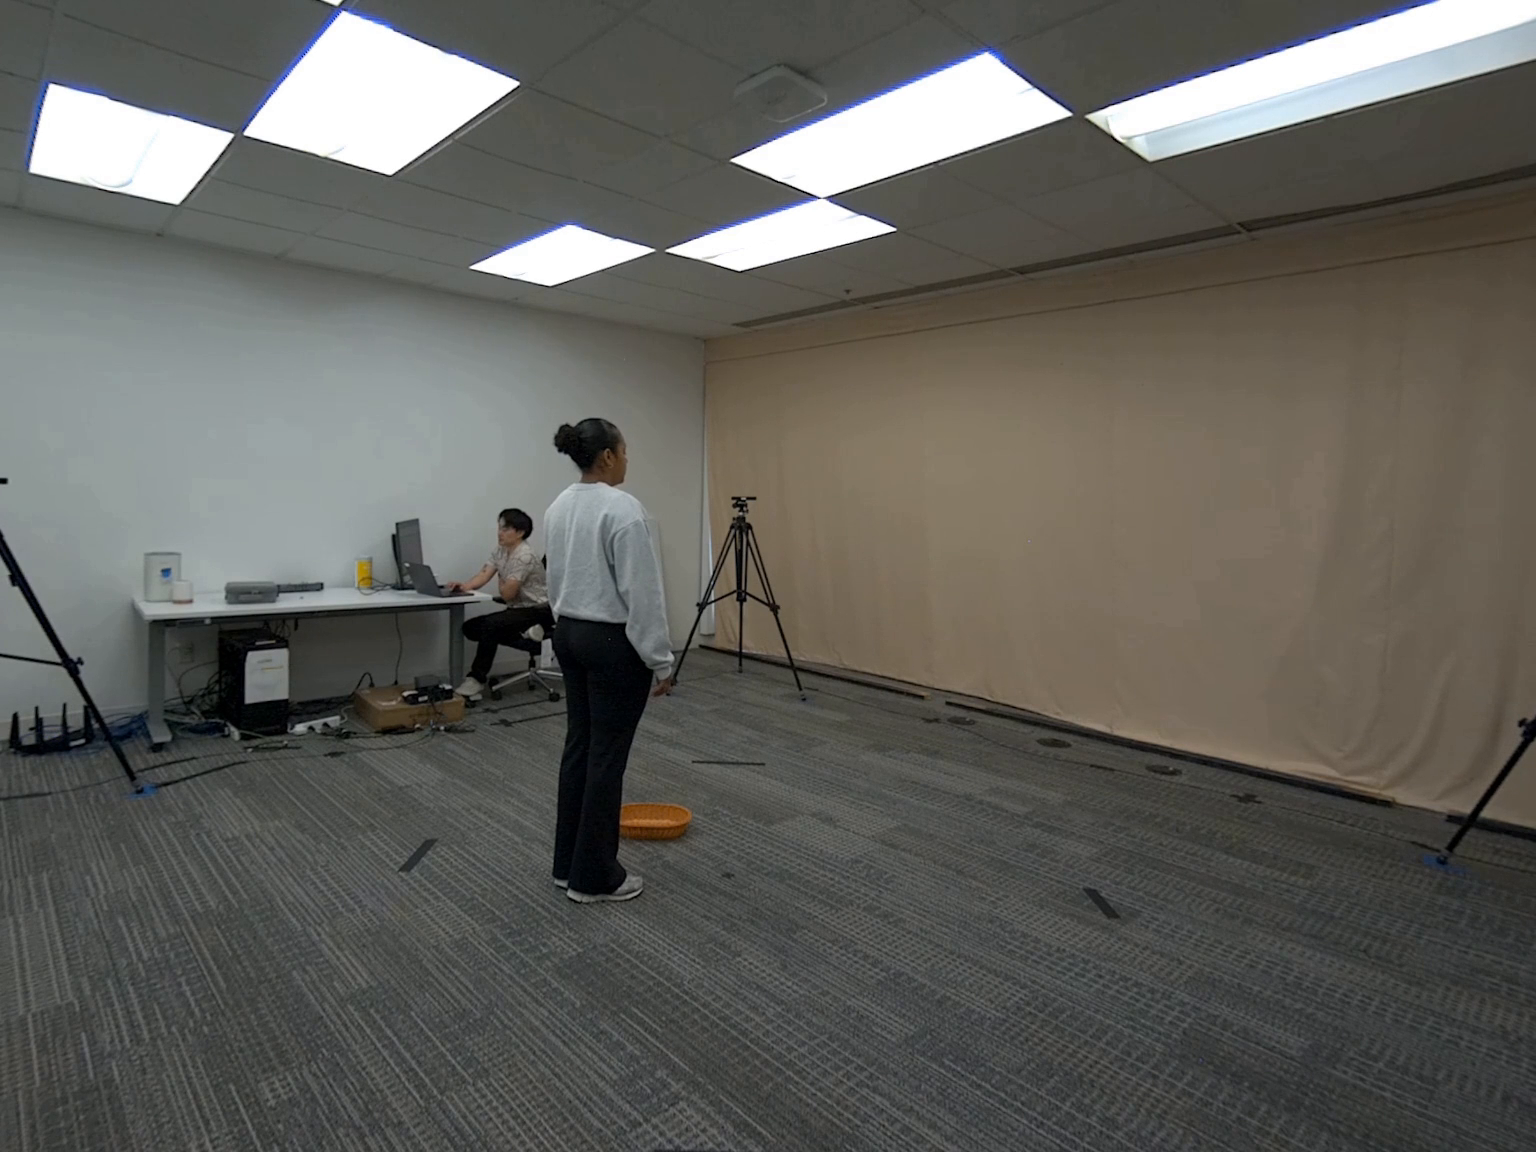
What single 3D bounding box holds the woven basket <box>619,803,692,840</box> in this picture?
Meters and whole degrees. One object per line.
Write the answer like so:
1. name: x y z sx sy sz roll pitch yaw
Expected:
1. woven basket: -0.492 1.022 3.504 0.351 0.073 0.252 2 5 3
